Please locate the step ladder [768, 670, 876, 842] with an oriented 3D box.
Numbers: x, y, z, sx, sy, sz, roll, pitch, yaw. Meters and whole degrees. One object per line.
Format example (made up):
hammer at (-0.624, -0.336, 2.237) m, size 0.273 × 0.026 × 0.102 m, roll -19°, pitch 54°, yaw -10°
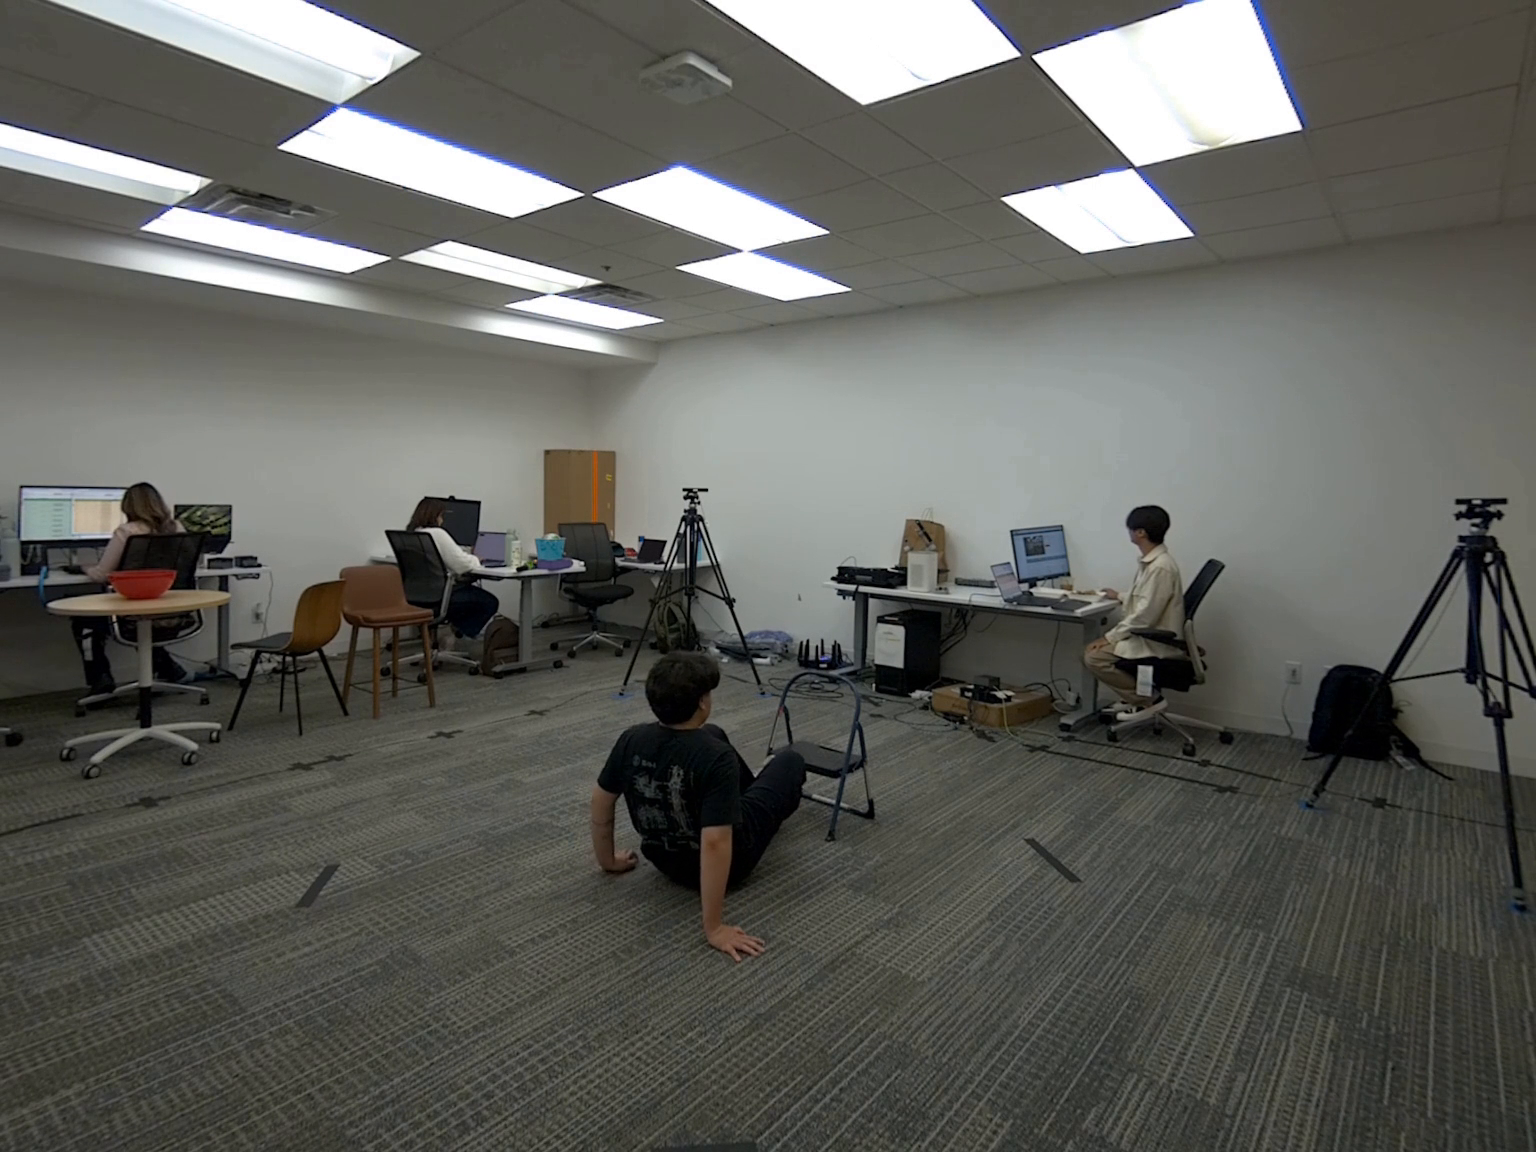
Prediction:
step ladder at (0.191, 0.724, 3.634) m, size 0.445 × 0.604 × 0.339 m, roll 5°, pitch 5°, yaw 39°
